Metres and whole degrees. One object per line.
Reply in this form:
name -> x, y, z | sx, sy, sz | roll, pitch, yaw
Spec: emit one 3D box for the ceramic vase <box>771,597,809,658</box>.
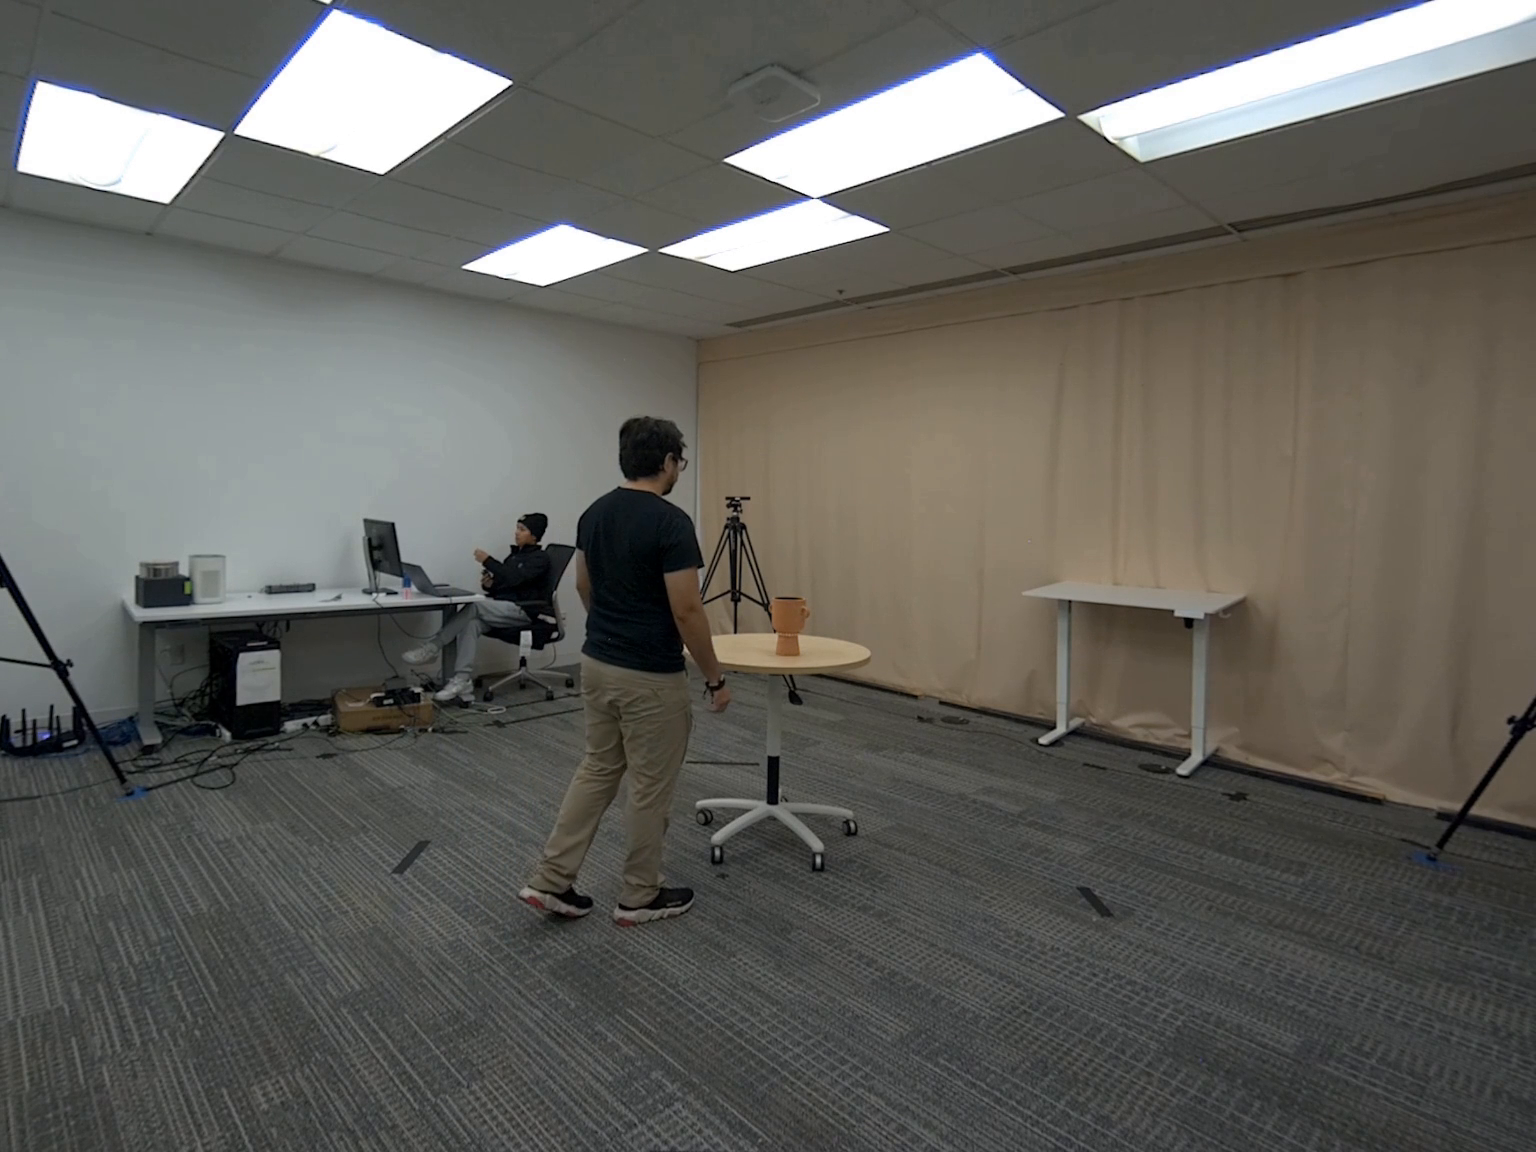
ceramic vase -> 0.077, 0.200, 3.329 | 0.133, 0.219, 0.160 | 1, 5, -10
